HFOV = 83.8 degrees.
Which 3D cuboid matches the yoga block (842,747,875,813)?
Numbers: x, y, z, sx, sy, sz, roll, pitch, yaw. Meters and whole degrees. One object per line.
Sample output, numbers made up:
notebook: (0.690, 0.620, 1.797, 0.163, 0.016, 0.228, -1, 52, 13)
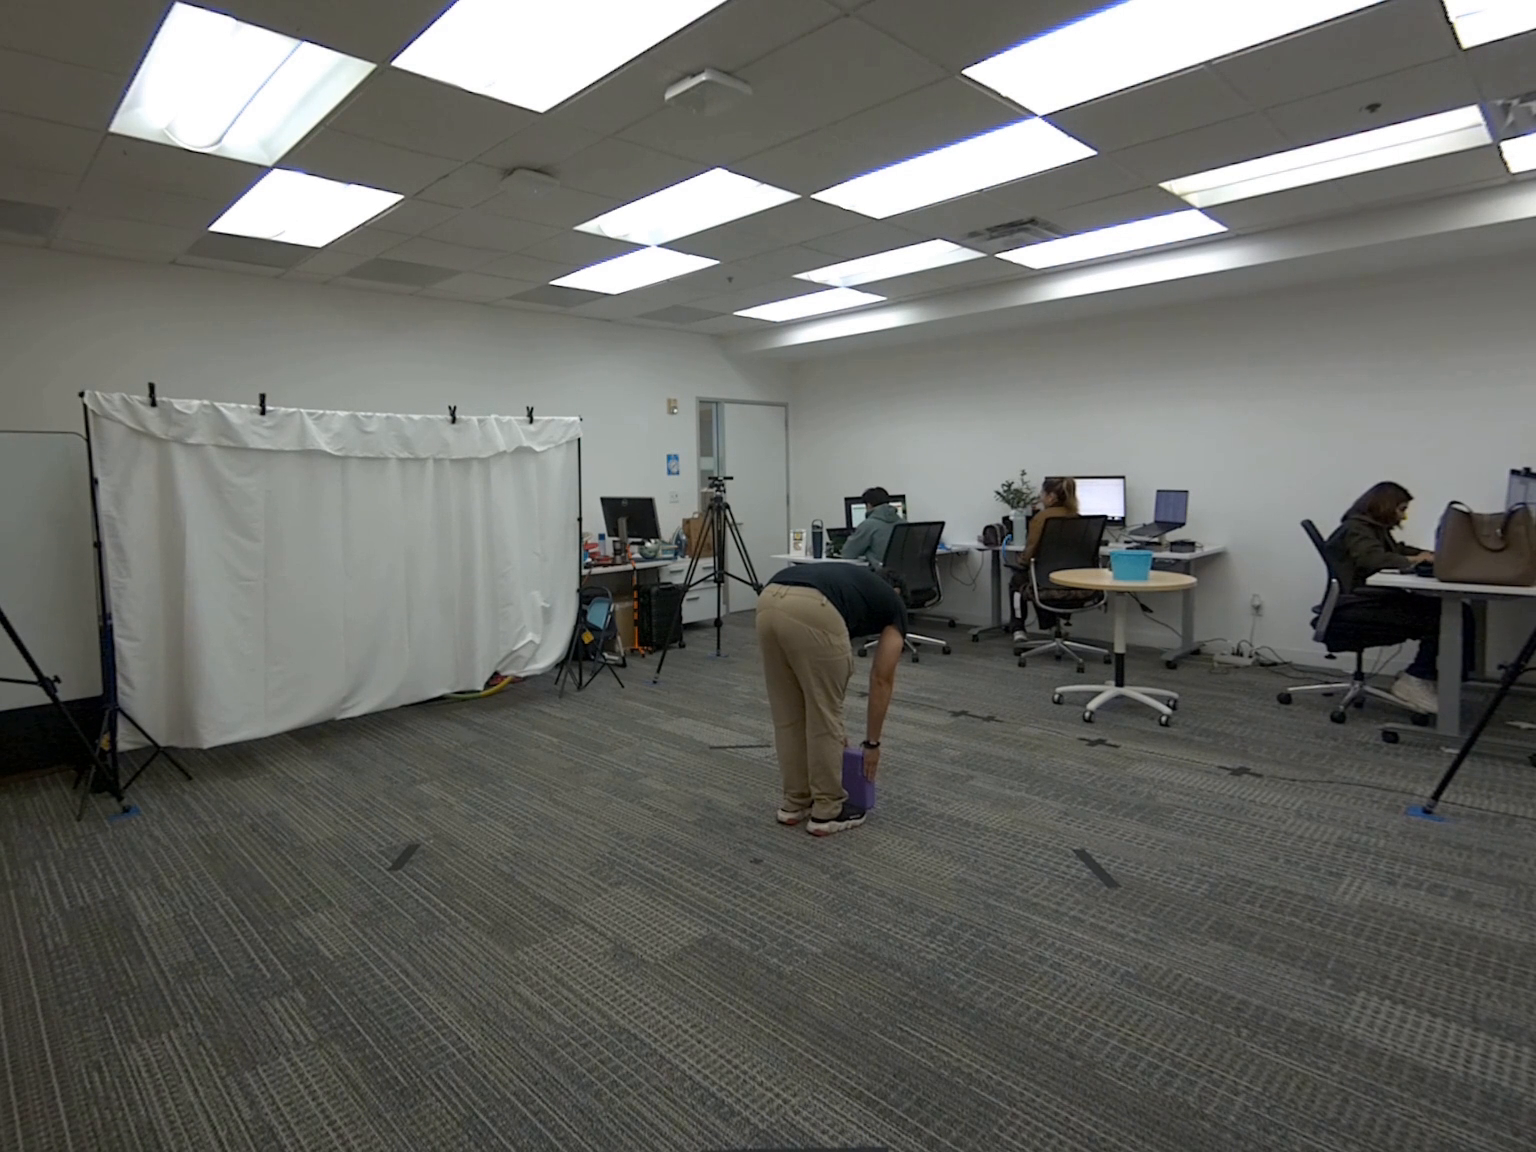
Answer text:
yoga block: (0.374, 0.857, 3.621, 0.074, 0.229, 0.153, -4, 5, -45)
